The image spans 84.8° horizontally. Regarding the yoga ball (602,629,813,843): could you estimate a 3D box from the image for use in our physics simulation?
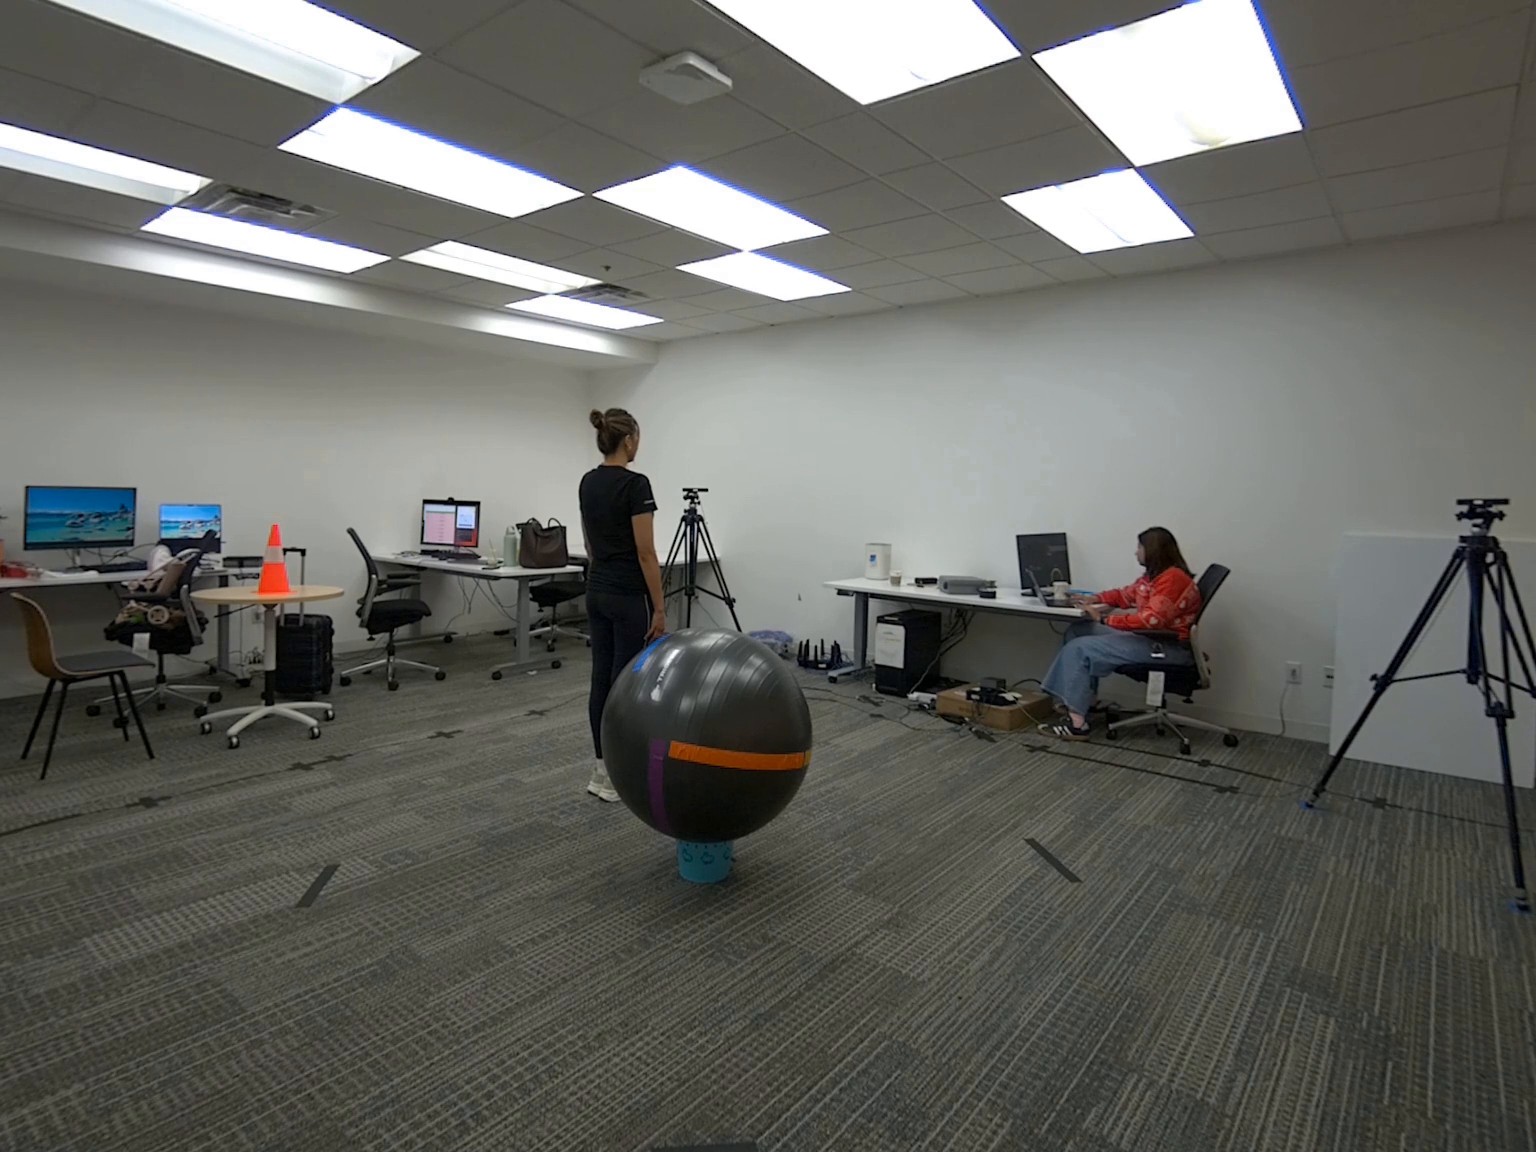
[{"bbox_3d":[-0.233,0.561,3.067,0.757,0.756,0.761,1,4,-2],"label":"yoga ball"}]
